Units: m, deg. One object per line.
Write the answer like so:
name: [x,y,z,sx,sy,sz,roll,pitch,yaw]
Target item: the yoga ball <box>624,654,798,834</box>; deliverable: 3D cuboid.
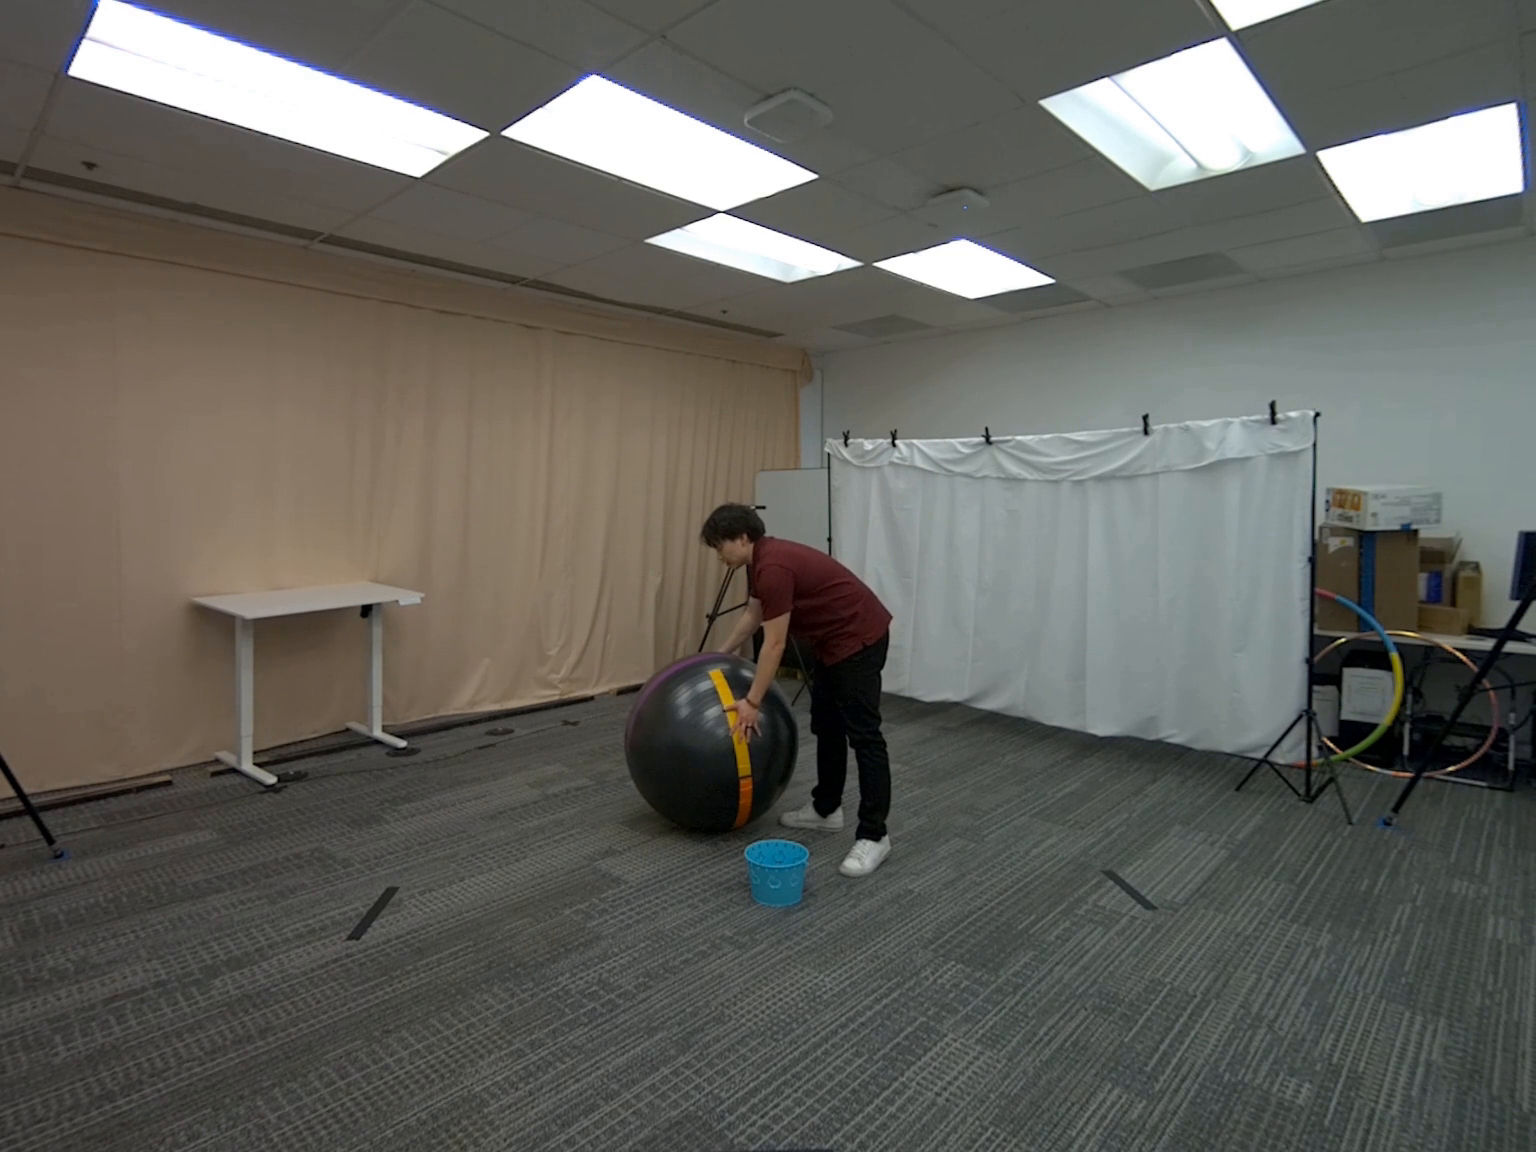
yoga ball: [-0.251,0.717,3.677,0.757,0.756,0.760,0,4,-2]
